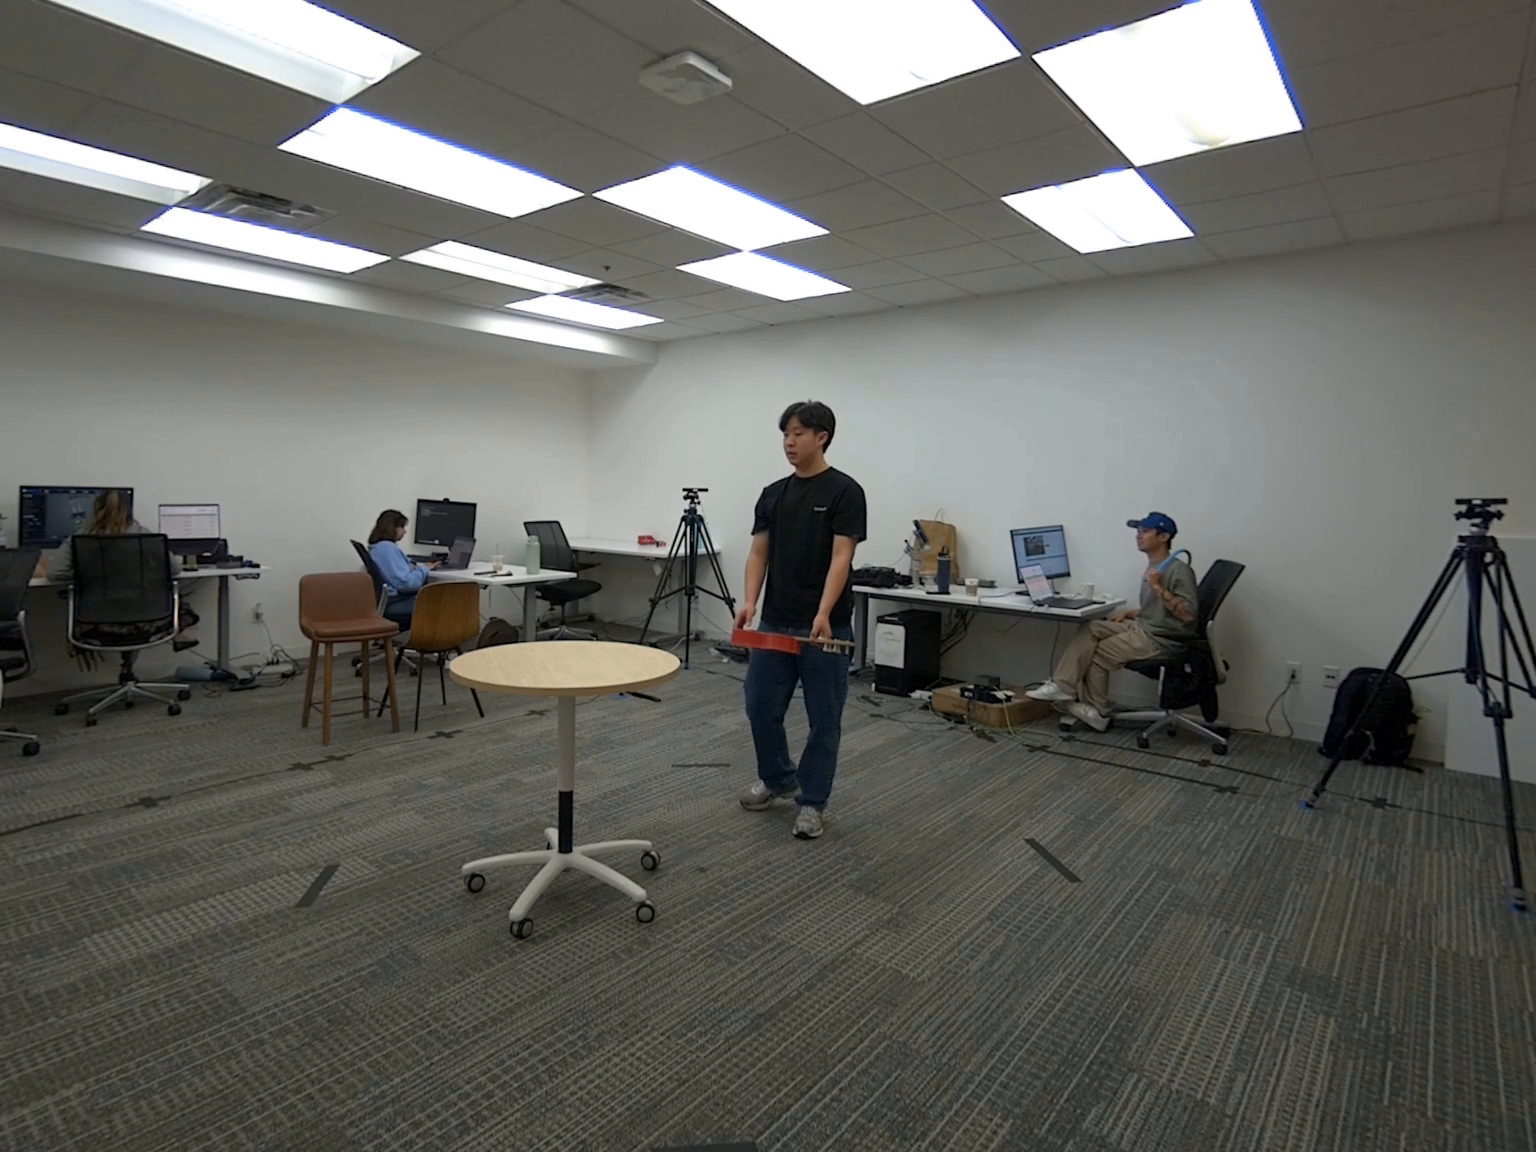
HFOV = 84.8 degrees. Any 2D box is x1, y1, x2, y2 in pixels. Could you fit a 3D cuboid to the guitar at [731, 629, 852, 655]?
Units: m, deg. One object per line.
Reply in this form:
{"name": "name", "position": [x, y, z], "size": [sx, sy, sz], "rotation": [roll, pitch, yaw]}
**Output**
{"name": "guitar", "position": [0.055, 0.248, 3.202], "size": [0.186, 0.071, 0.513], "rotation": [15, -8, -38]}
